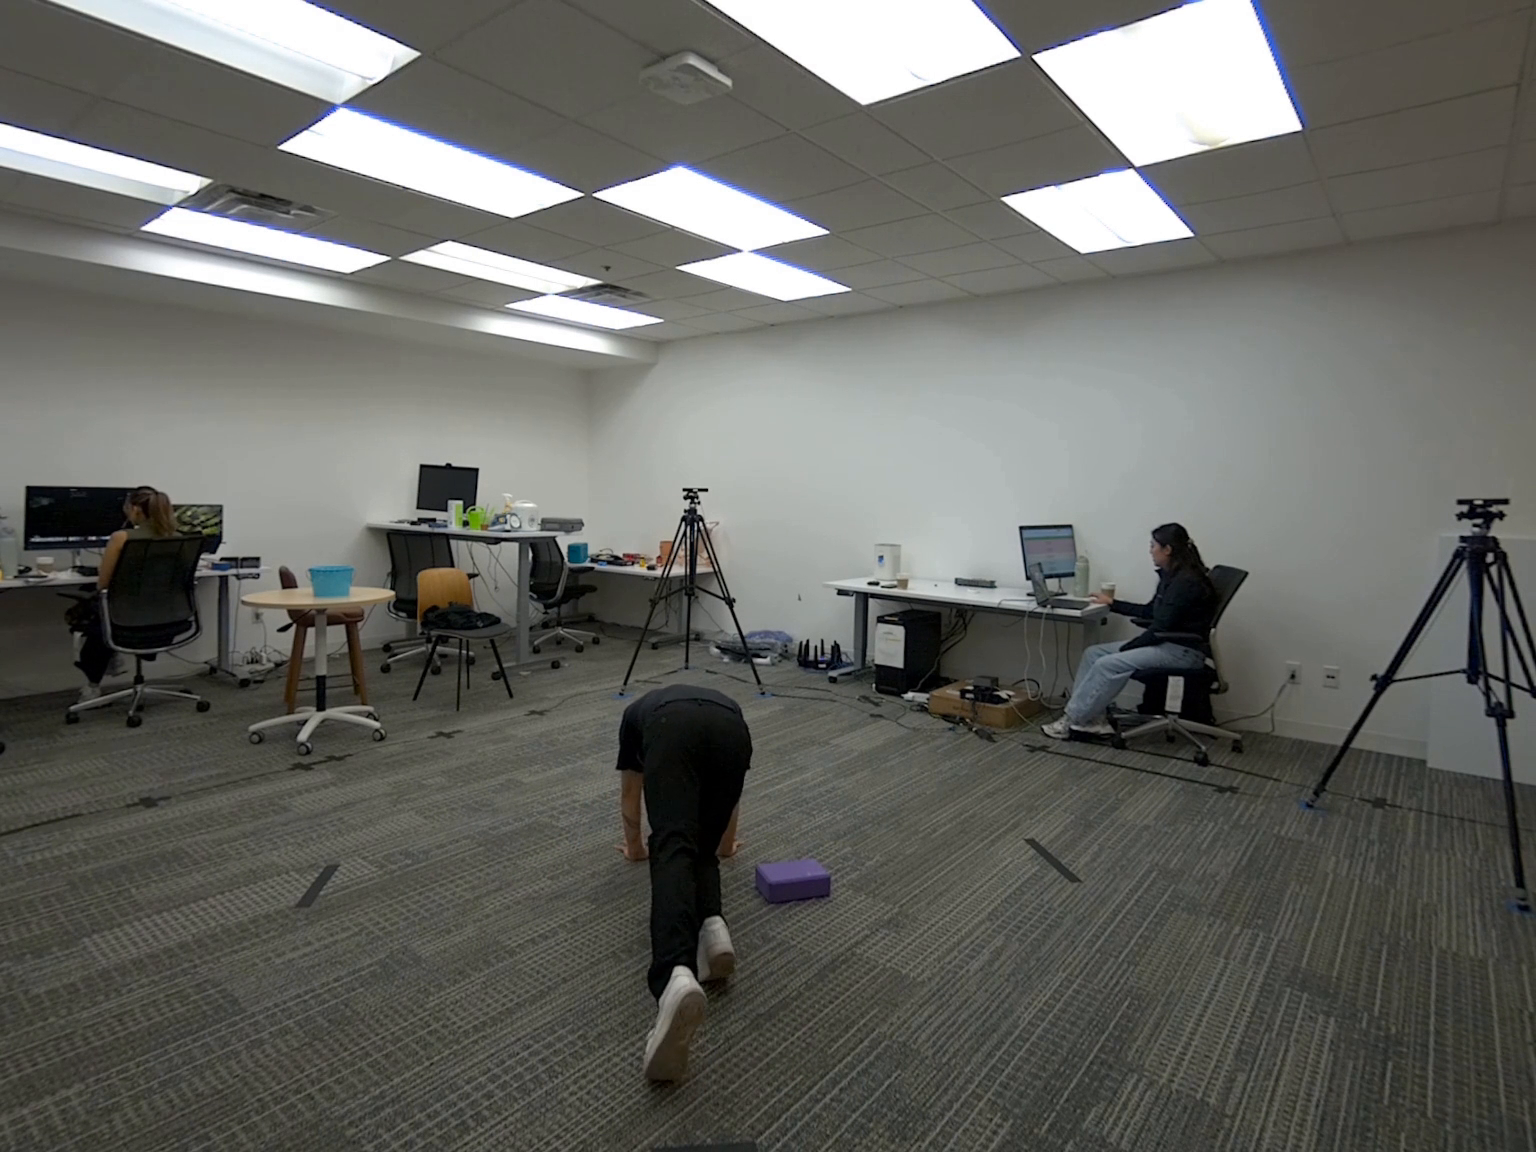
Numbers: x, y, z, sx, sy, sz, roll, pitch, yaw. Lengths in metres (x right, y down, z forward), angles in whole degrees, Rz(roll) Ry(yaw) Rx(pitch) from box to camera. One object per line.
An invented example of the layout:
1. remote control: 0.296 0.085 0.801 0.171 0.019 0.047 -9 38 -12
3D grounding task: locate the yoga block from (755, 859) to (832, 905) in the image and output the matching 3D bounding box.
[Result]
1. yoga block: 0.081 1.052 2.952 0.225 0.076 0.152 -1 4 -18
